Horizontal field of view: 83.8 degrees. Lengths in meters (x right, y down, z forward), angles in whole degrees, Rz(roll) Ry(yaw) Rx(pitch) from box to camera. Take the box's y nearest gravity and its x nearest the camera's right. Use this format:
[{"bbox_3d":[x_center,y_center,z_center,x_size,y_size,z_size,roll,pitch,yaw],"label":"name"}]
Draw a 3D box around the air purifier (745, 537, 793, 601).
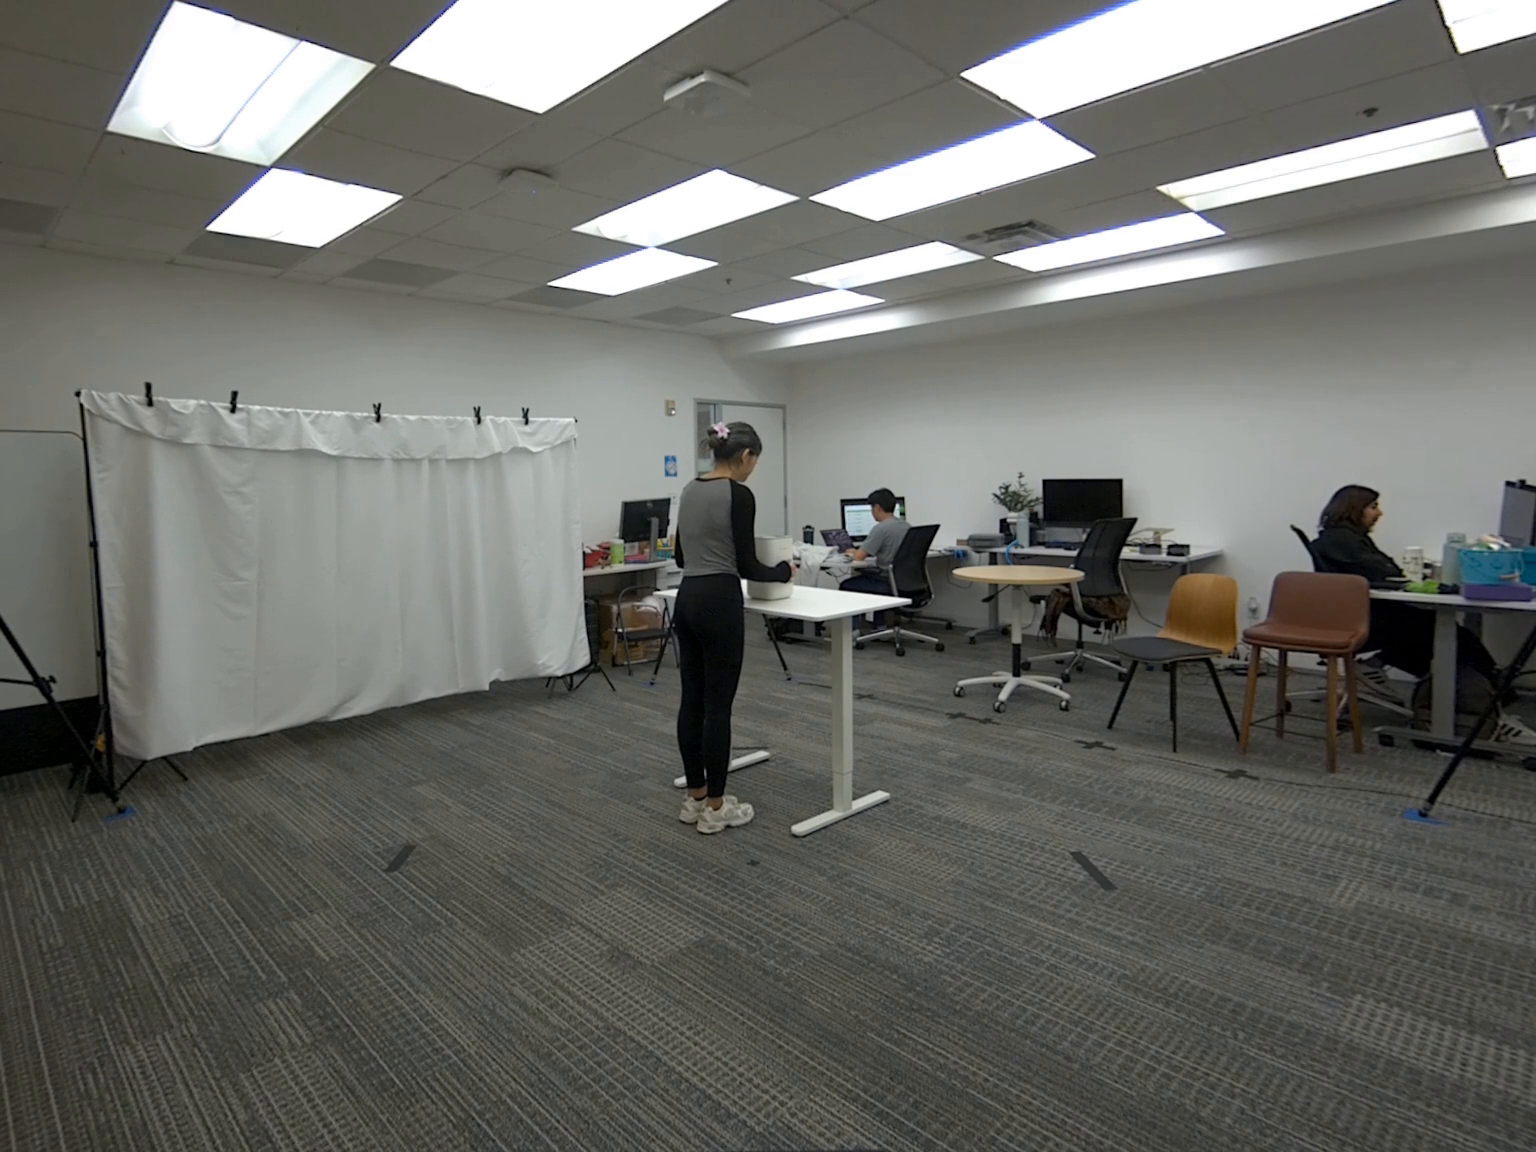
[{"bbox_3d":[0.015,-0.036,3.686,0.166,0.264,0.177,-6,8,-44],"label":"air purifier"}]
